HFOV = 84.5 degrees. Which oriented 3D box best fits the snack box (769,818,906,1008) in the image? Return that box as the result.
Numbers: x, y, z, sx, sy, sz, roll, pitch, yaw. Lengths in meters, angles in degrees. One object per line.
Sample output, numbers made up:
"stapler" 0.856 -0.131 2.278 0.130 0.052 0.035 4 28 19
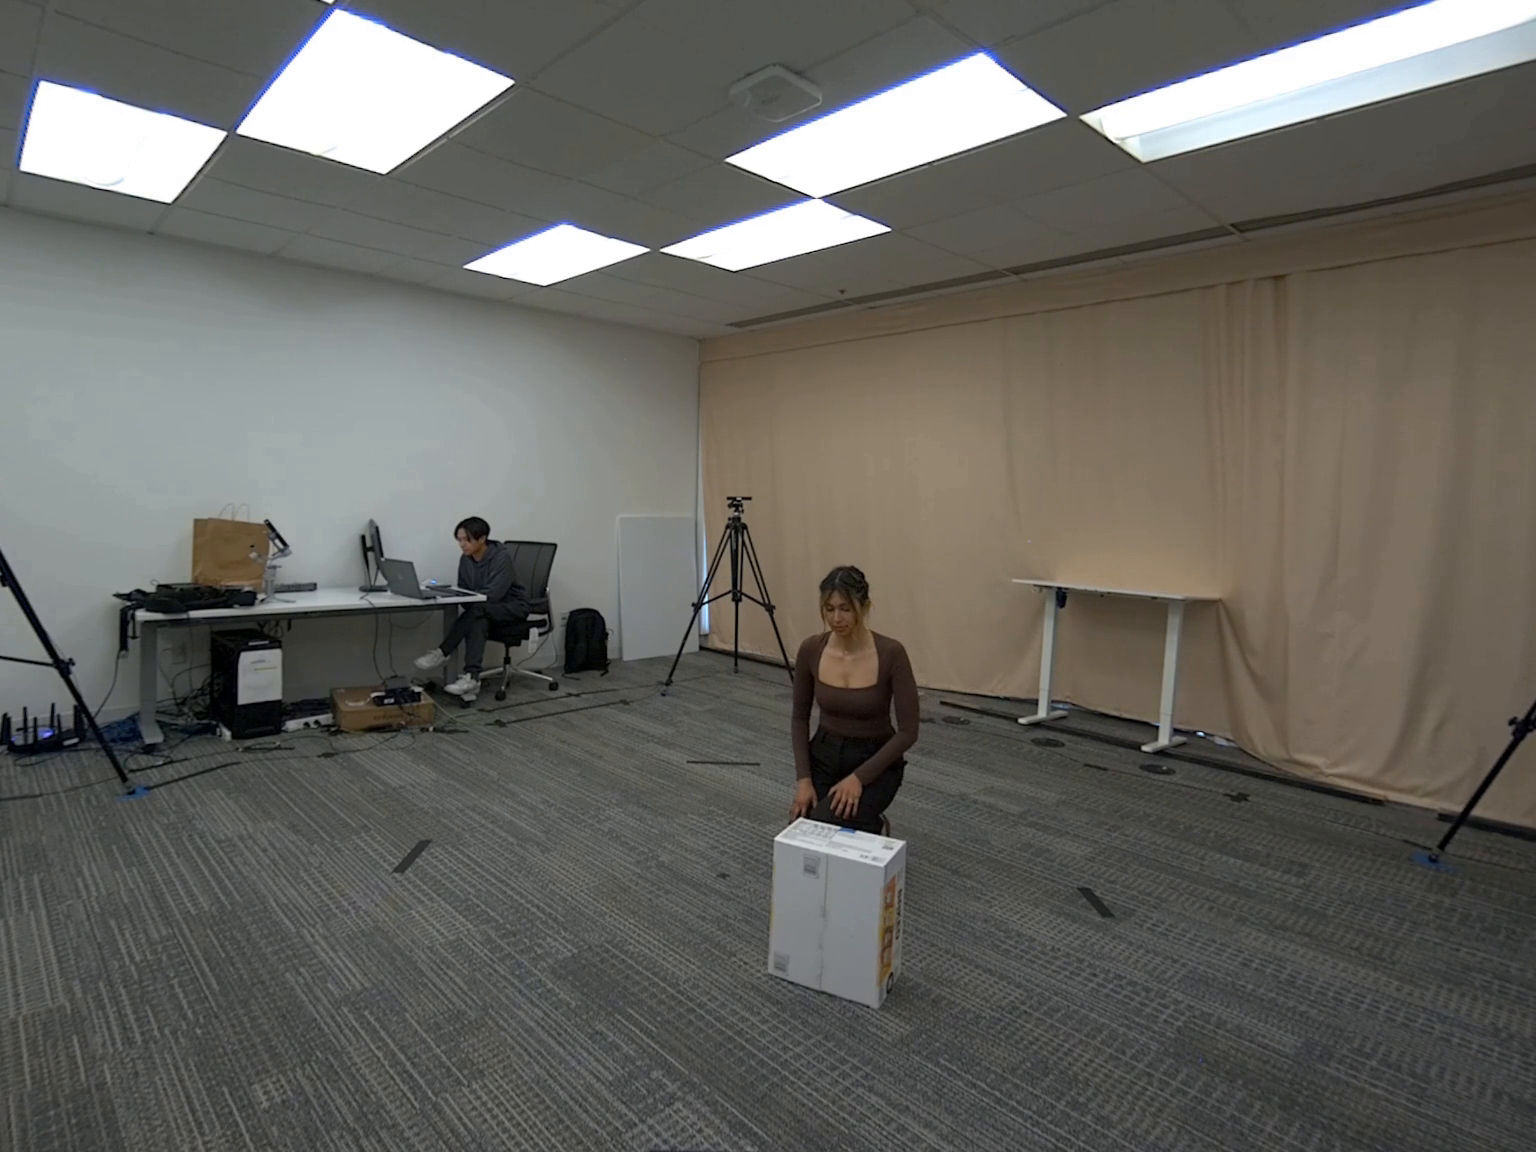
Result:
"snack box" 0.198 0.968 2.464 0.347 0.404 0.202 4 4 27
